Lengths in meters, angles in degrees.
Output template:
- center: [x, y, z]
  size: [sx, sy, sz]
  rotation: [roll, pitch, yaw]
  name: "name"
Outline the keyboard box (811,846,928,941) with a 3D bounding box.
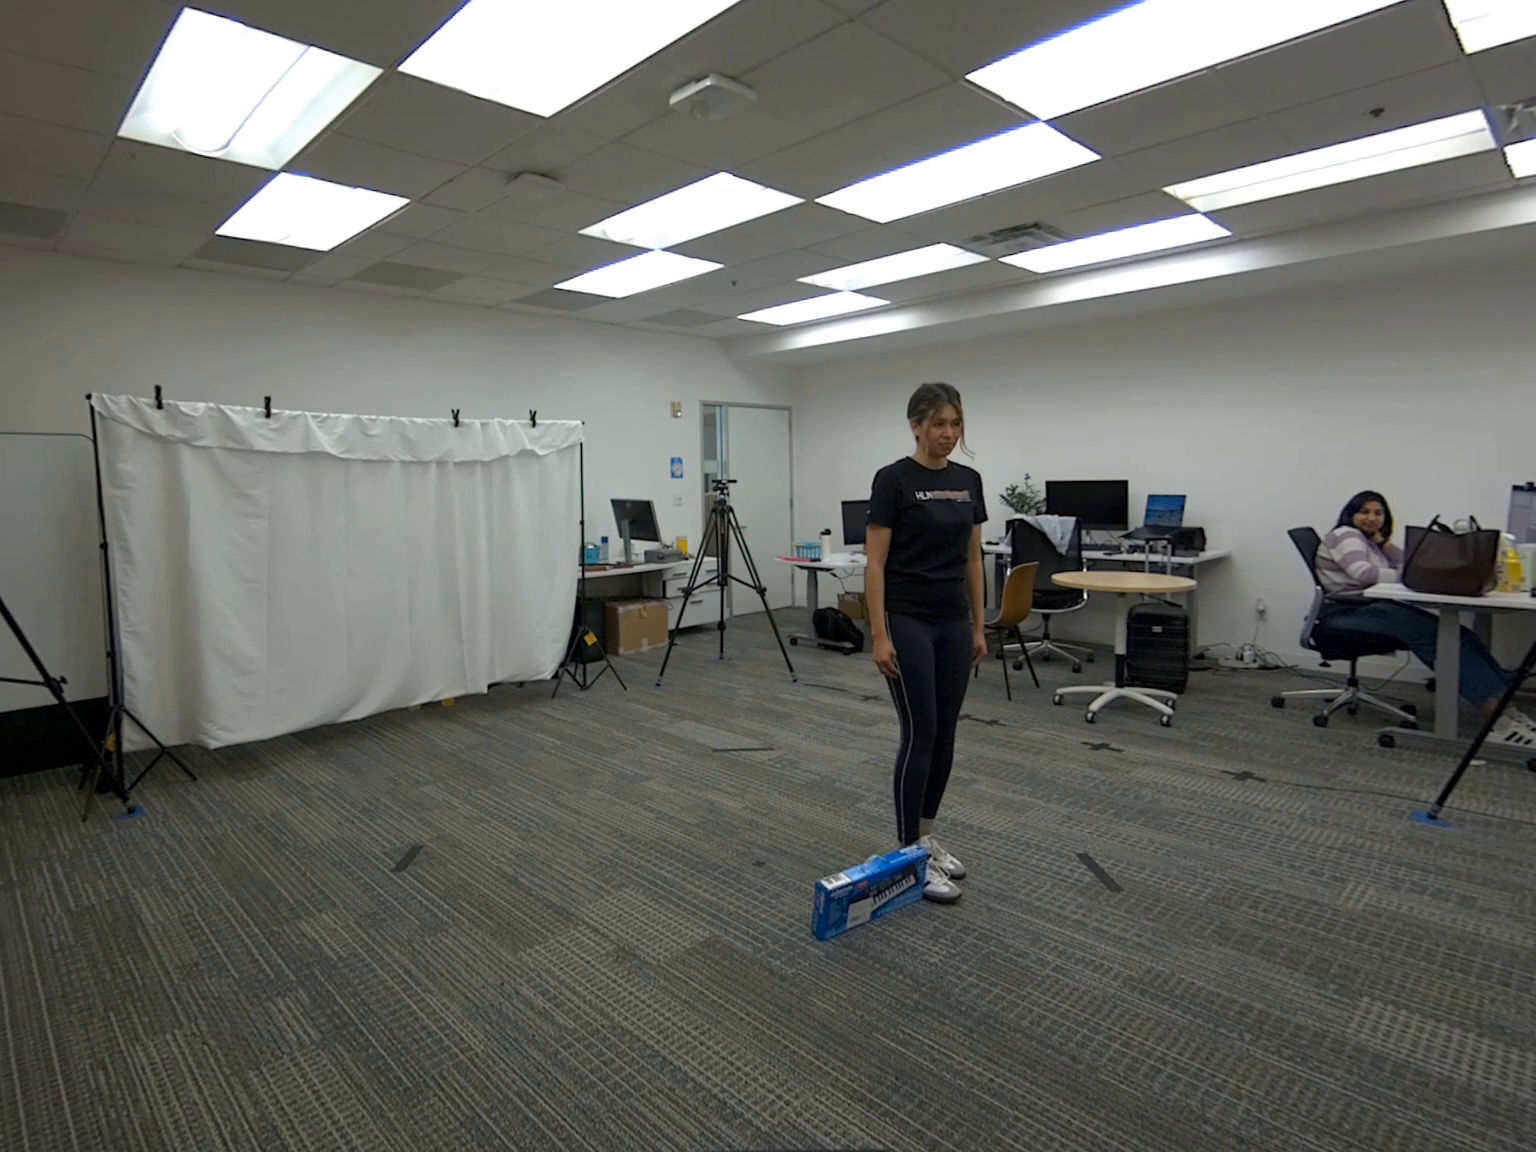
- center: [0.332, 1.001, 2.705]
  size: [0.426, 0.174, 0.061]
  rotation: [-6, 15, -36]
  name: "keyboard box"
